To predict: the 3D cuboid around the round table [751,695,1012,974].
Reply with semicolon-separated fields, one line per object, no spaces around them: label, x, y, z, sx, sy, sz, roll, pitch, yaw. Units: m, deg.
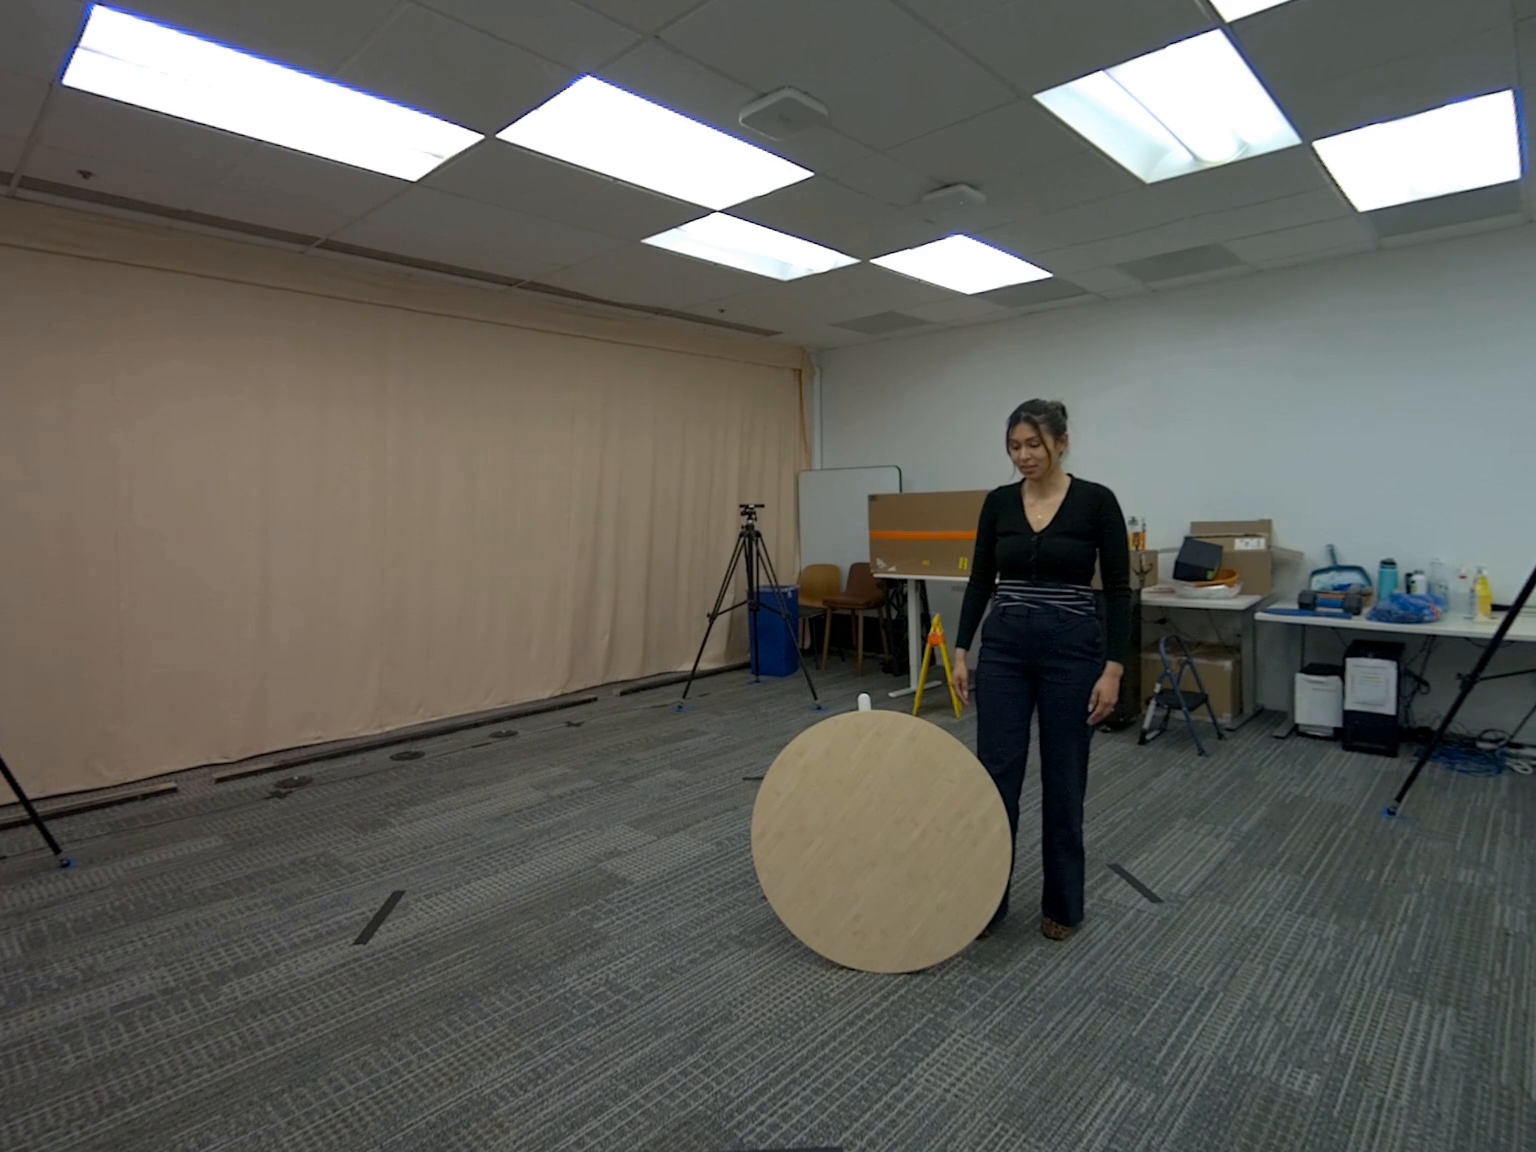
round table;0.369;0.803;2.906;0.770;0.765;0.786;0;-2;7
